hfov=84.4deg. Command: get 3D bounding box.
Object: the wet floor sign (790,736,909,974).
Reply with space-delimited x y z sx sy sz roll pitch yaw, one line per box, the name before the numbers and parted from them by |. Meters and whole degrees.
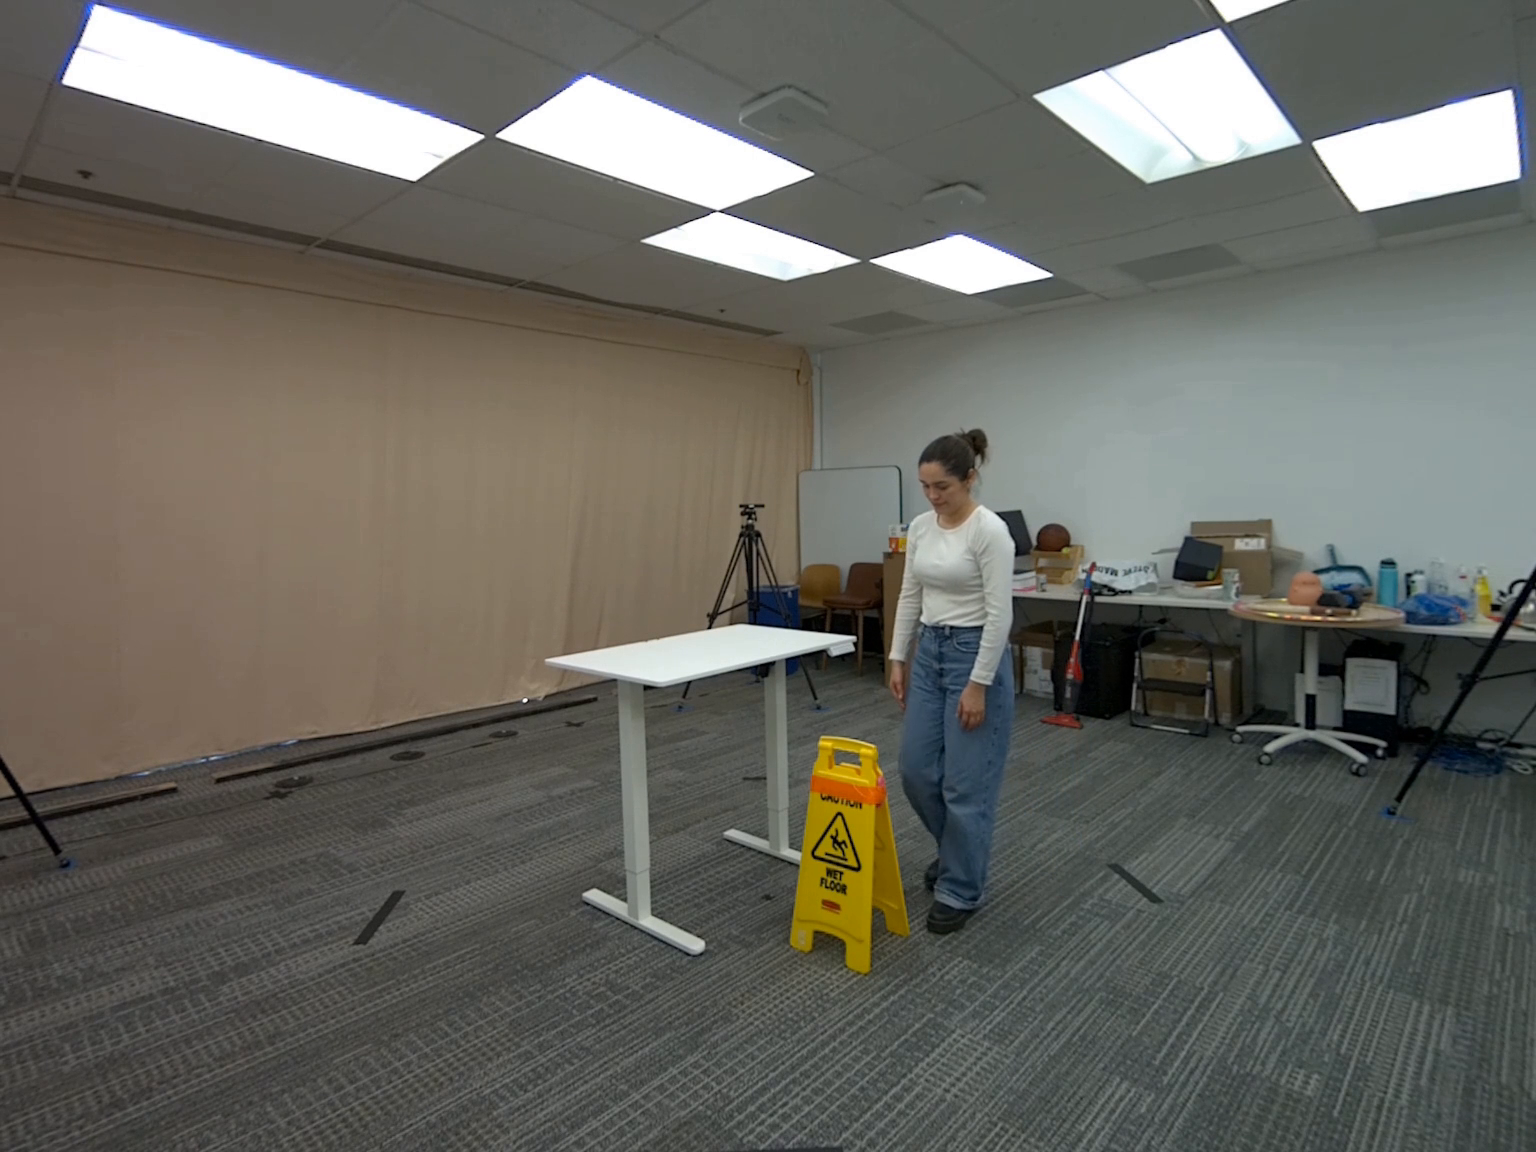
wet floor sign | 0.267 0.843 2.661 0.291 0.645 0.281 1 4 37
